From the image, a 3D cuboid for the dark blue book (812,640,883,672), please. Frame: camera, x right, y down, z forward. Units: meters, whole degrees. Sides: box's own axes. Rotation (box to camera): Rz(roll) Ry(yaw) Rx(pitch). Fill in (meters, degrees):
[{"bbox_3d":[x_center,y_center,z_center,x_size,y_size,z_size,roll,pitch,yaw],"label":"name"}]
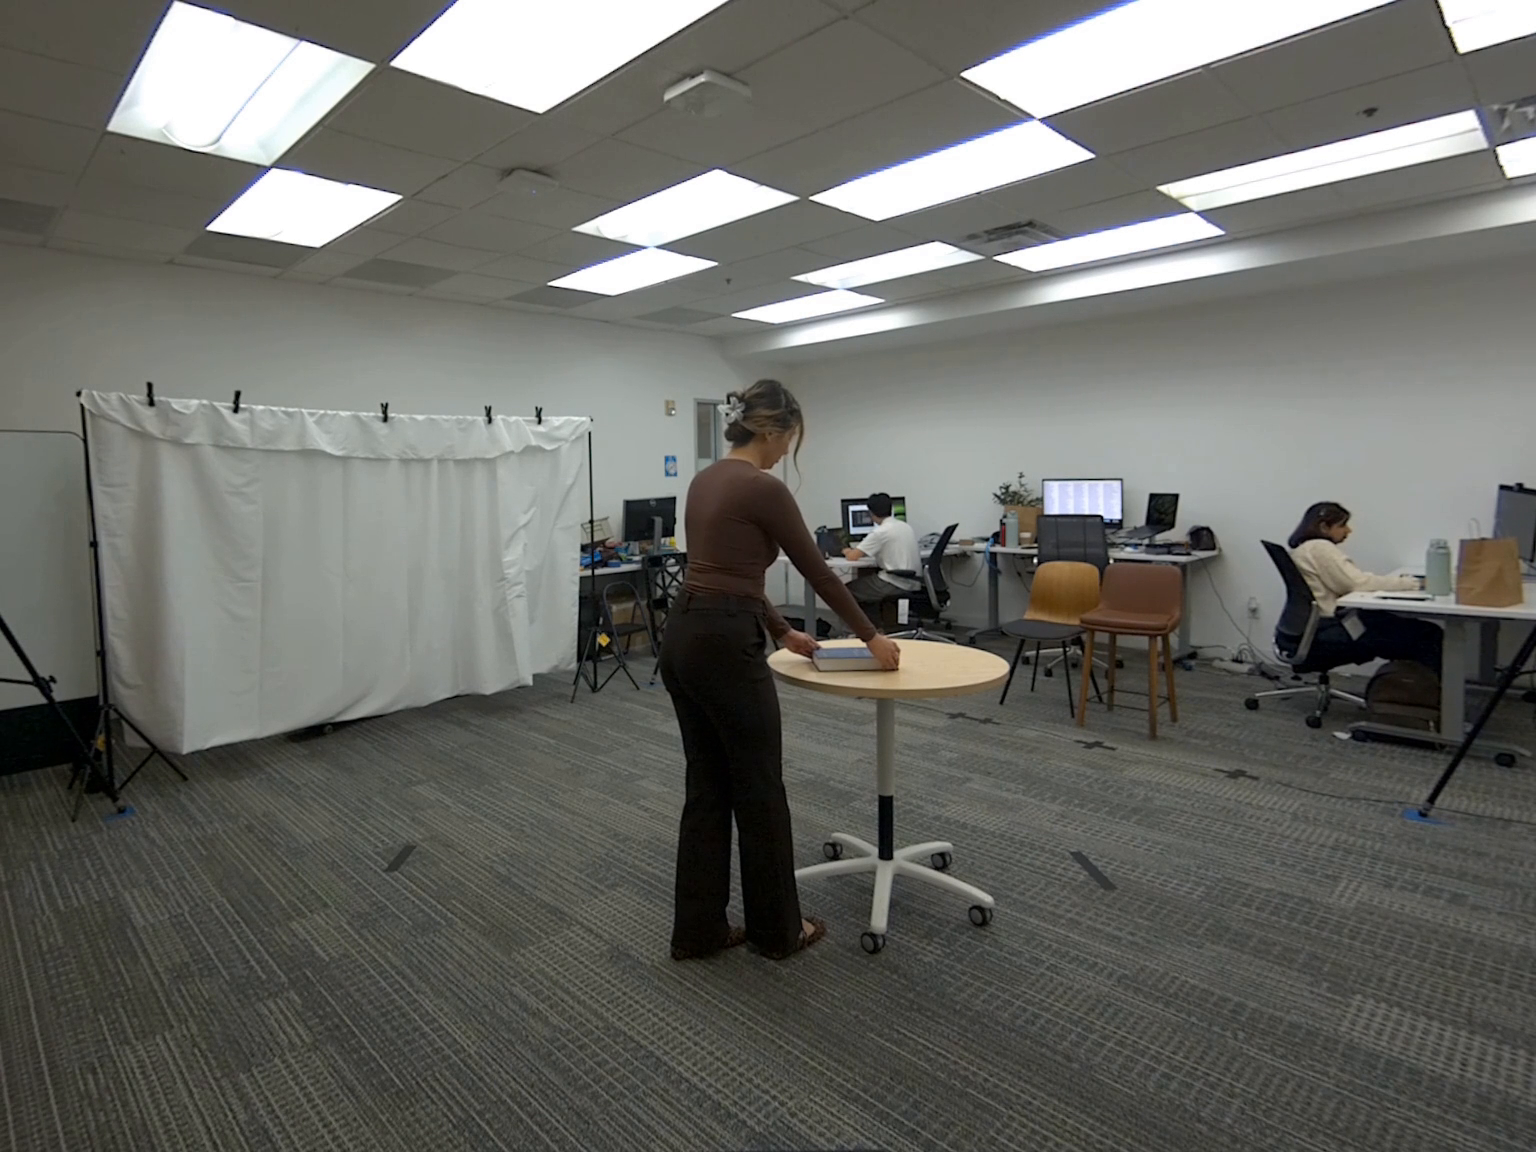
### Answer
[{"bbox_3d":[0.269,0.268,2.709,0.245,0.045,0.164,-3,7,-1],"label":"dark blue book"}]
